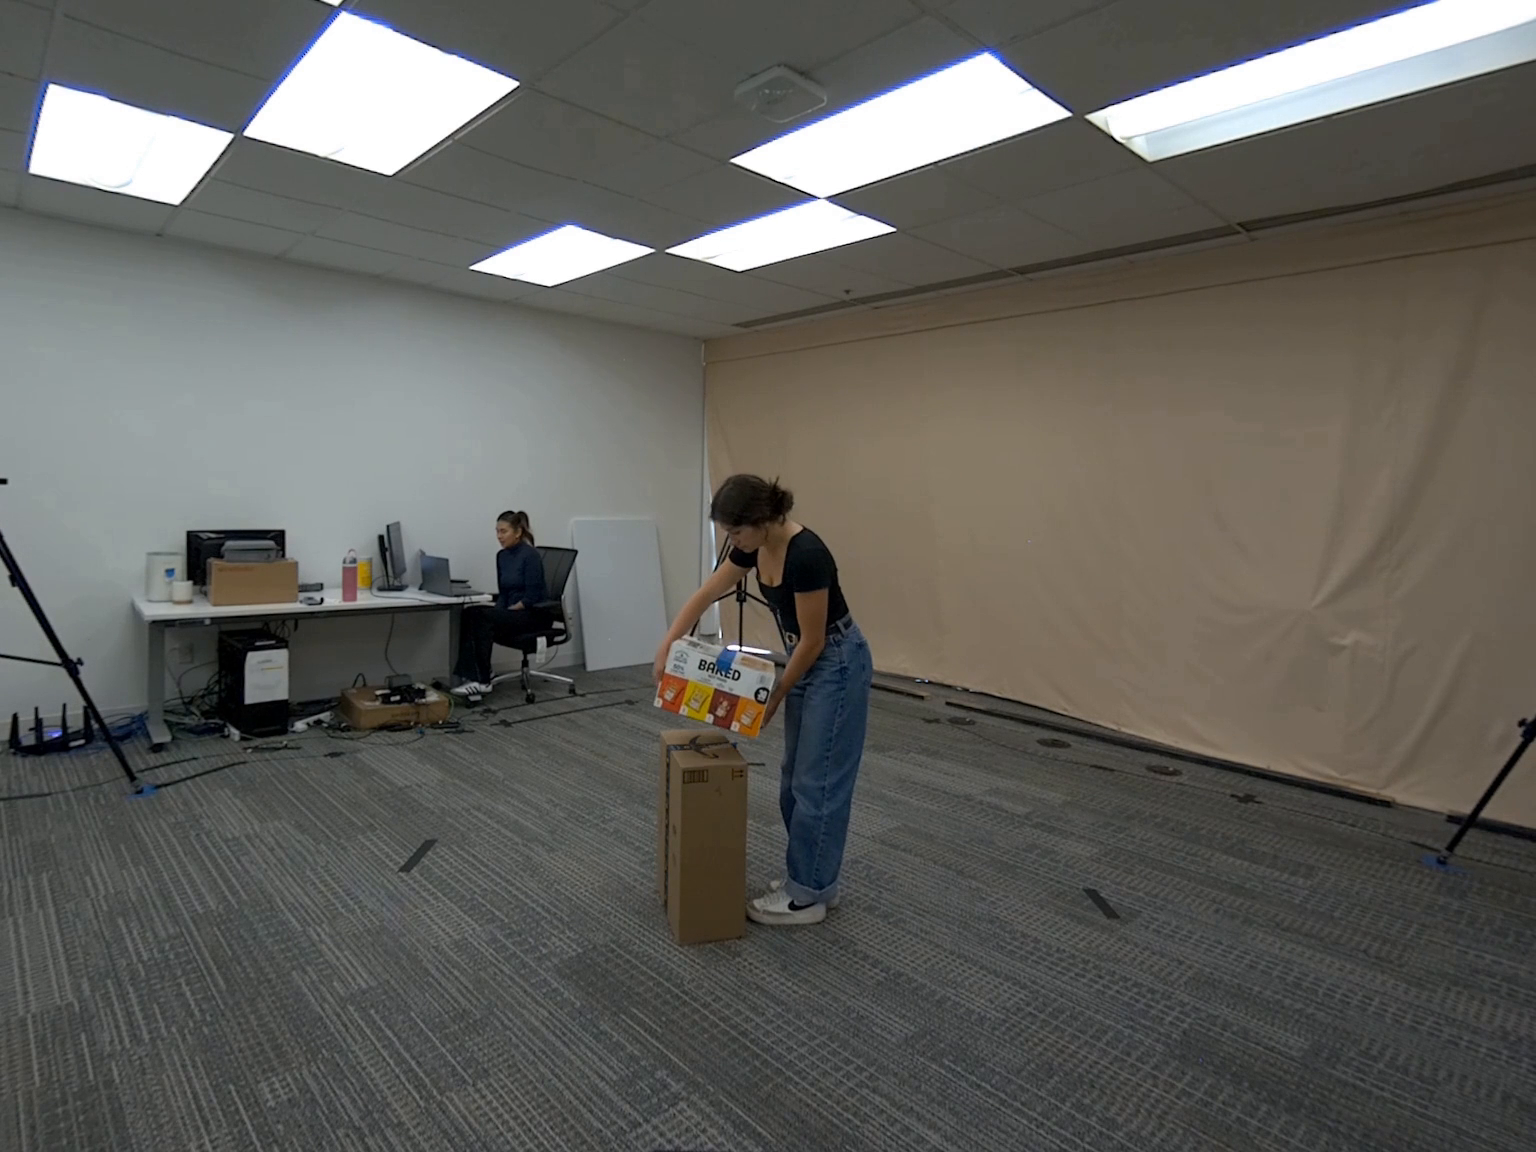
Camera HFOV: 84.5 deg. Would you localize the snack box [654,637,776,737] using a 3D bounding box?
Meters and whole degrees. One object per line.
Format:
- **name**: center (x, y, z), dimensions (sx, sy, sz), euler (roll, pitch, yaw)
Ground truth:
- **snack box**: center (-0.168, 0.353, 2.813), dimensions (0.341, 0.206, 0.404), euler (17, 0, 2)
